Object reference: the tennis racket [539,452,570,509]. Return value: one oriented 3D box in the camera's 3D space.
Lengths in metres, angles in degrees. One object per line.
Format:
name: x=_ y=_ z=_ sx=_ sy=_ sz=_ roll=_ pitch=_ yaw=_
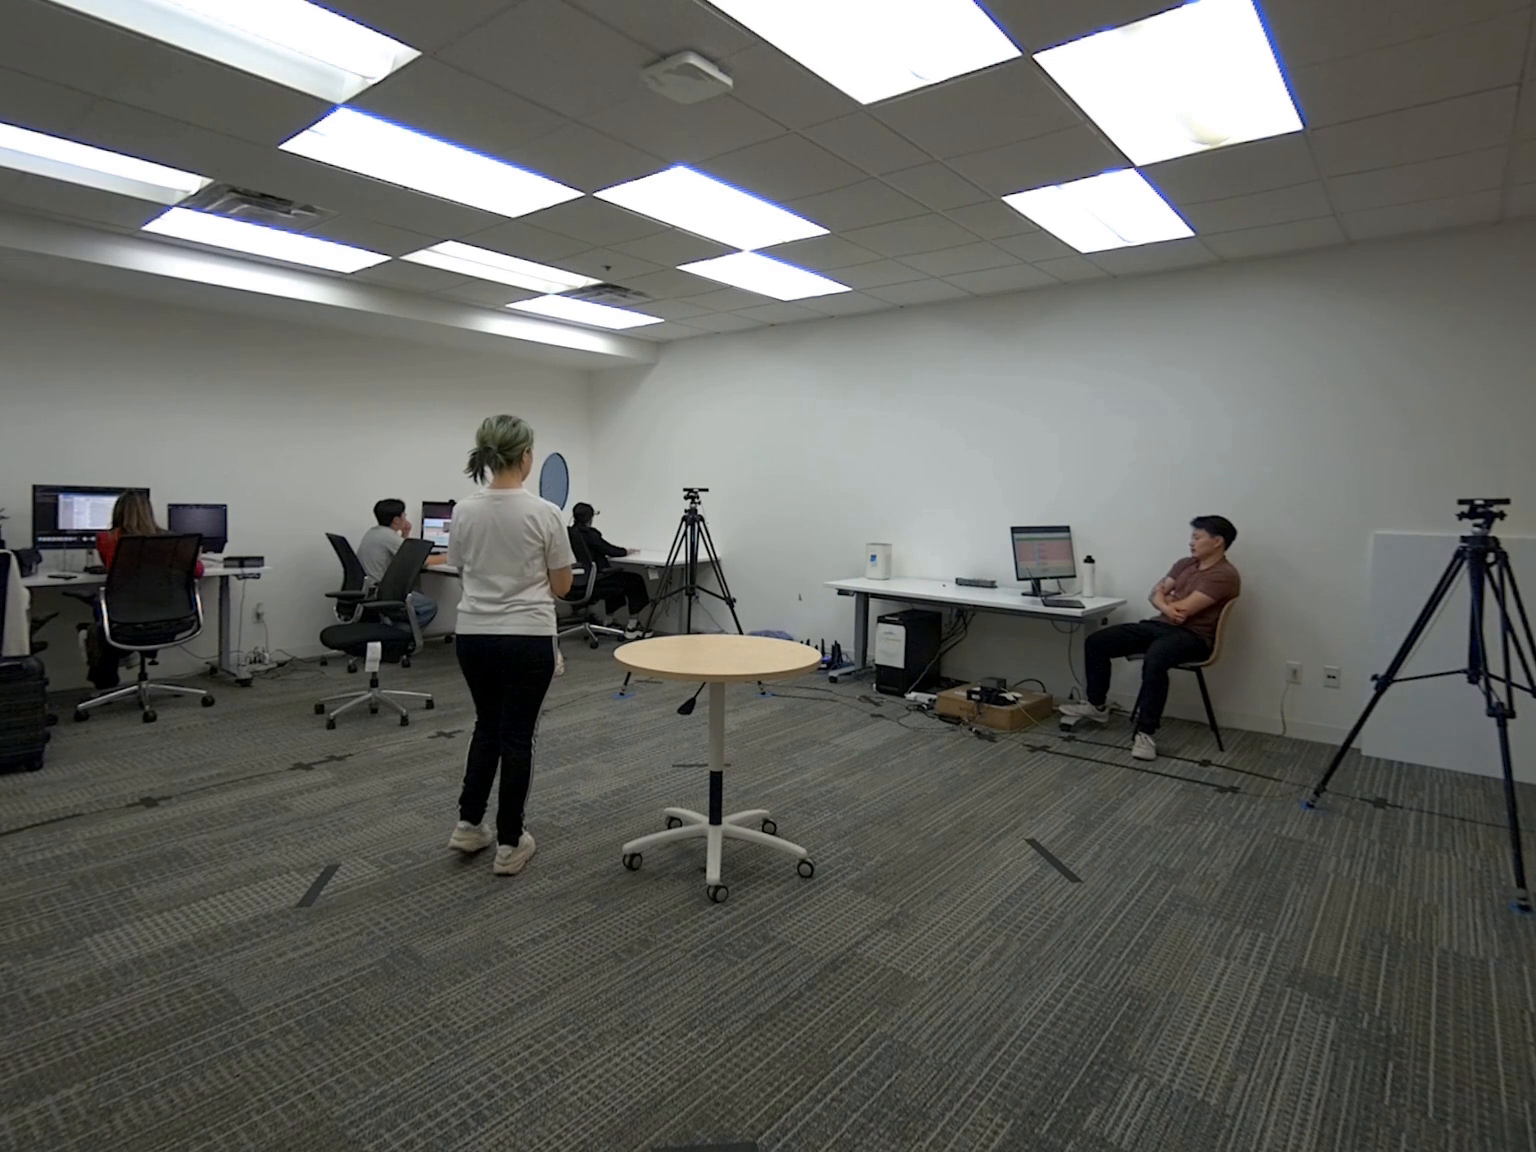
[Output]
tennis racket: x=-0.887 y=-0.297 z=3.393 sx=0.032 sy=0.441 sz=0.206 roll=-2 pitch=-26 yaw=18
